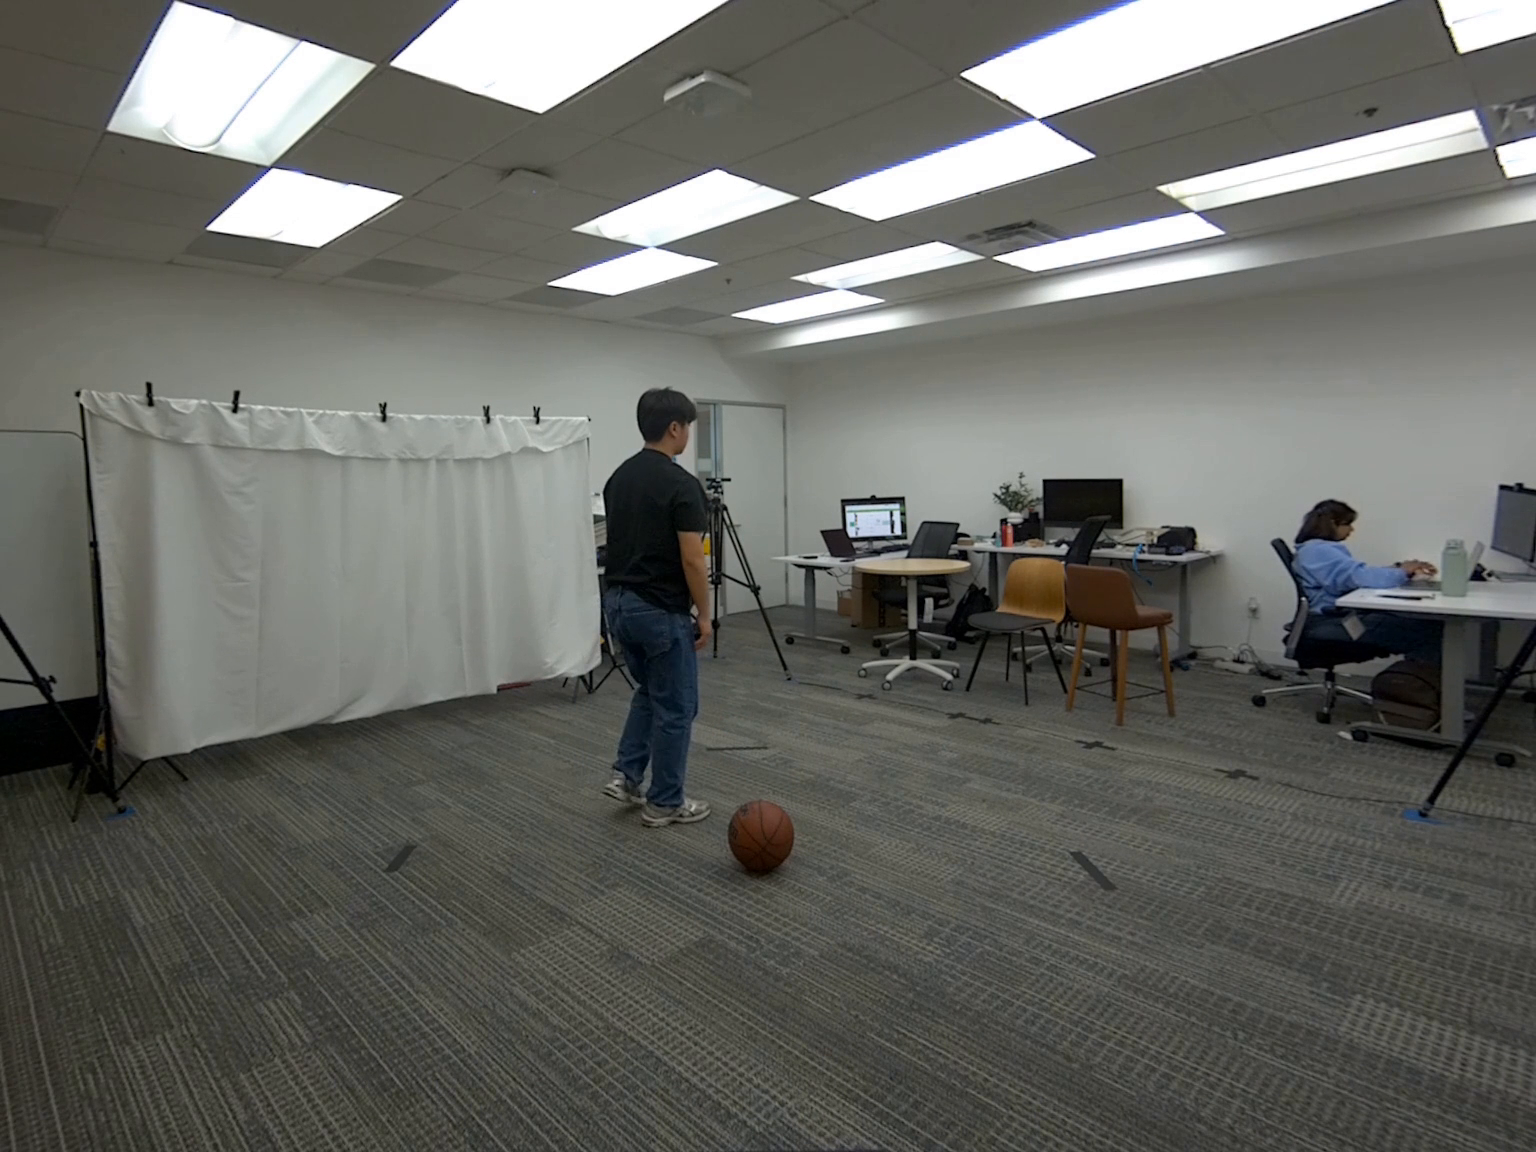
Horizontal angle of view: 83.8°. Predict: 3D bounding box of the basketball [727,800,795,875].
[{"bbox_3d":[-0.023,0.926,3.060,0.236,0.235,0.237,-1,5,-2],"label":"basketball"}]
